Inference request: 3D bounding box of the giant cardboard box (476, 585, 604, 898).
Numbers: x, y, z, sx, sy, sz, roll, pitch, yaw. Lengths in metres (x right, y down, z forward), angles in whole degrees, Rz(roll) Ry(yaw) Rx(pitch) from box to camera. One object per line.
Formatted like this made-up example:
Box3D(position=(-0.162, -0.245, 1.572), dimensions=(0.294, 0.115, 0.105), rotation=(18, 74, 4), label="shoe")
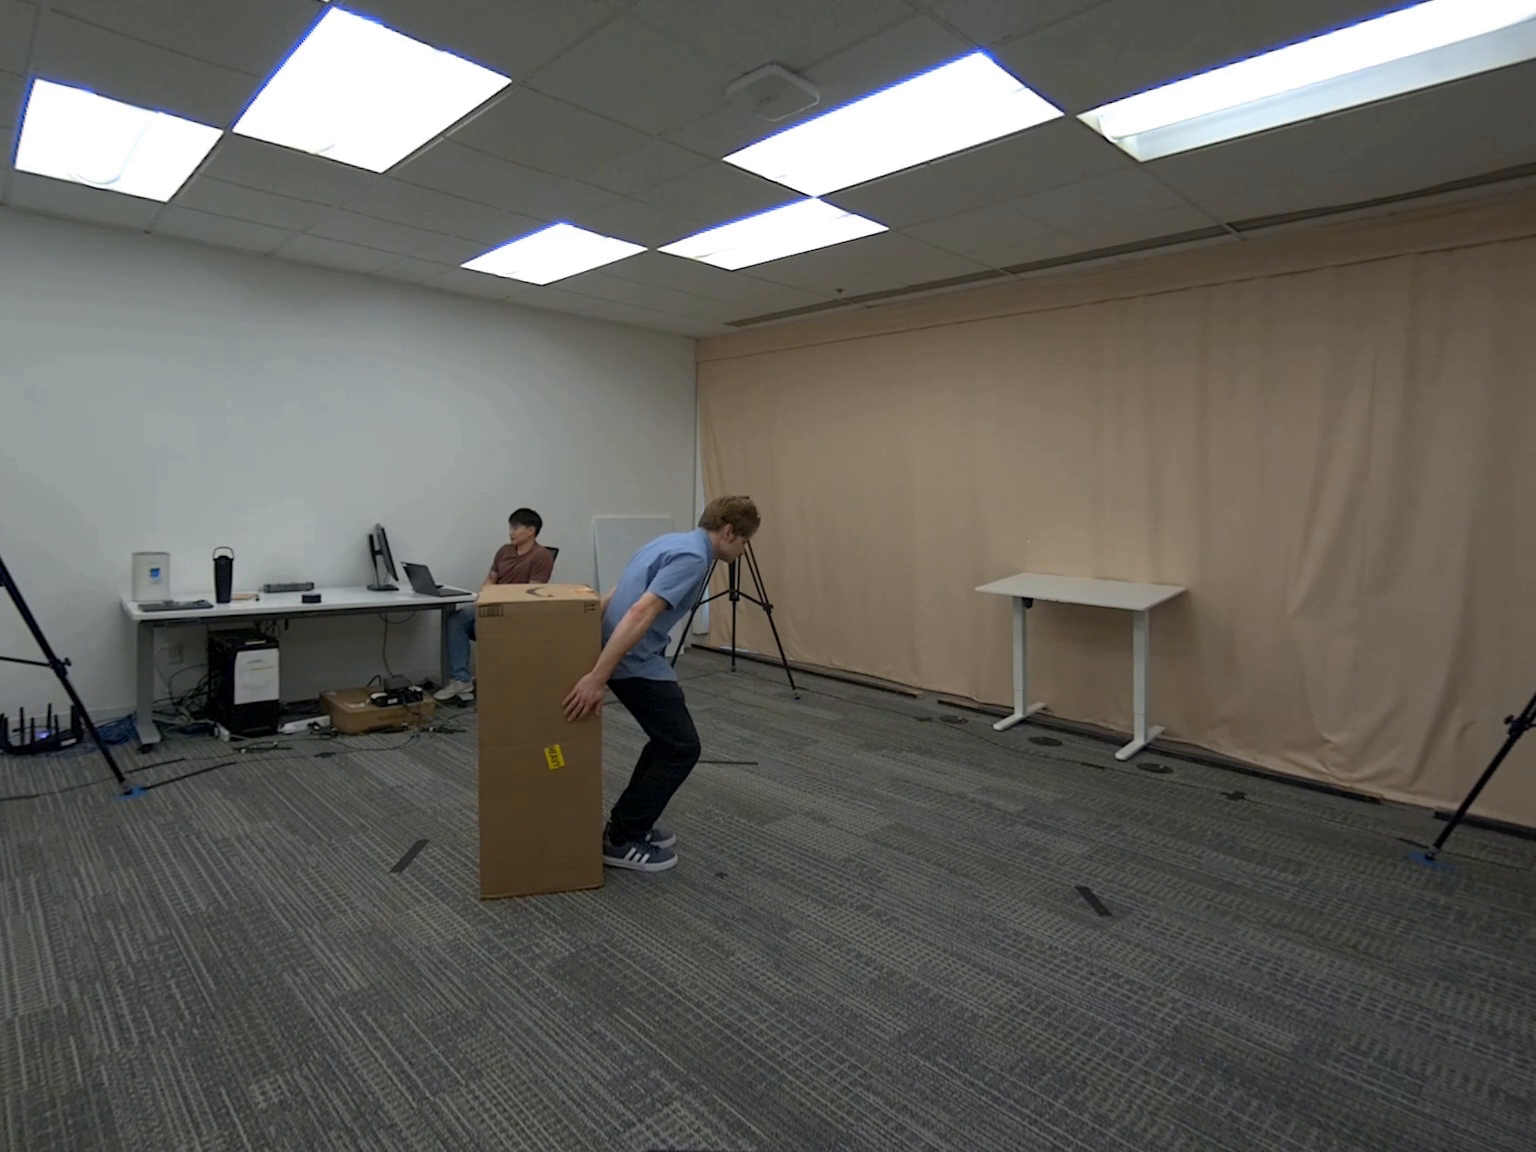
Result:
Box3D(position=(-0.869, 0.575, 3.170), dimensions=(0.441, 1.025, 0.592), rotation=(-1, 3, -17), label="giant cardboard box")
